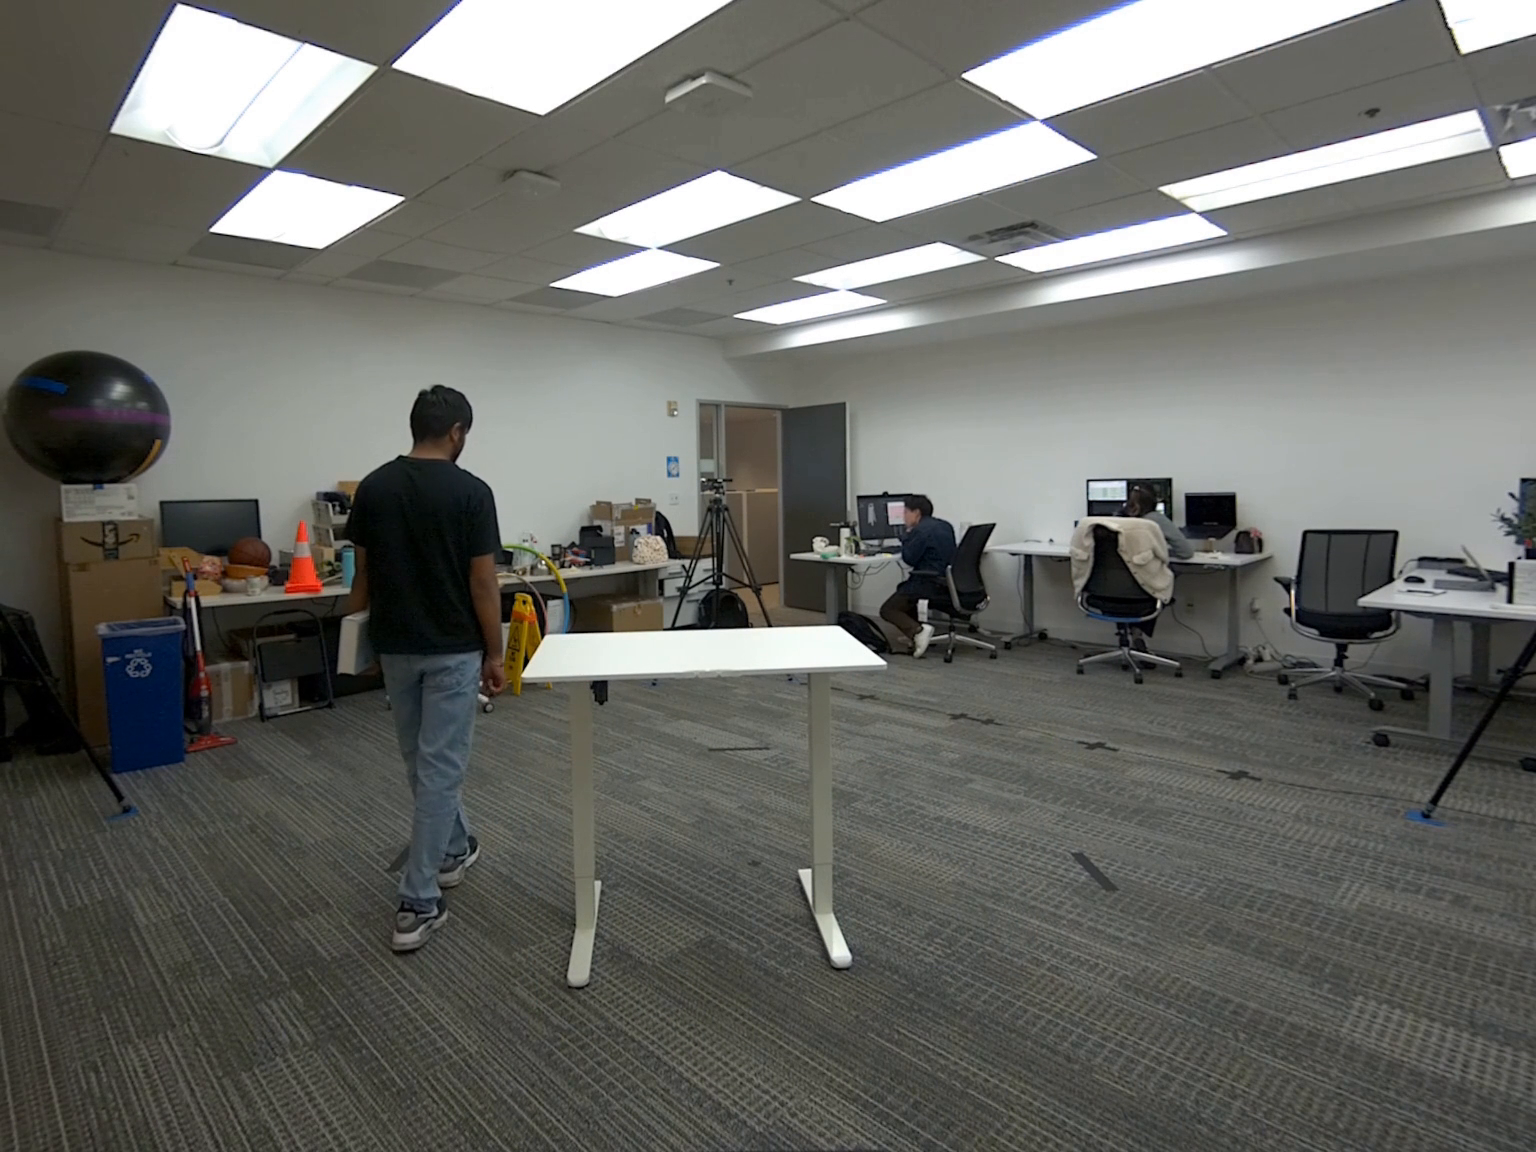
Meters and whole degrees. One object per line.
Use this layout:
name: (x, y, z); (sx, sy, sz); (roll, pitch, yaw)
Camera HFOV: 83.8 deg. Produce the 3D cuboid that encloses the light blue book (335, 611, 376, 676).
light blue book: (-1.306, 0.195, 2.817); (0.059, 0.190, 0.260); (9, 10, 6)
